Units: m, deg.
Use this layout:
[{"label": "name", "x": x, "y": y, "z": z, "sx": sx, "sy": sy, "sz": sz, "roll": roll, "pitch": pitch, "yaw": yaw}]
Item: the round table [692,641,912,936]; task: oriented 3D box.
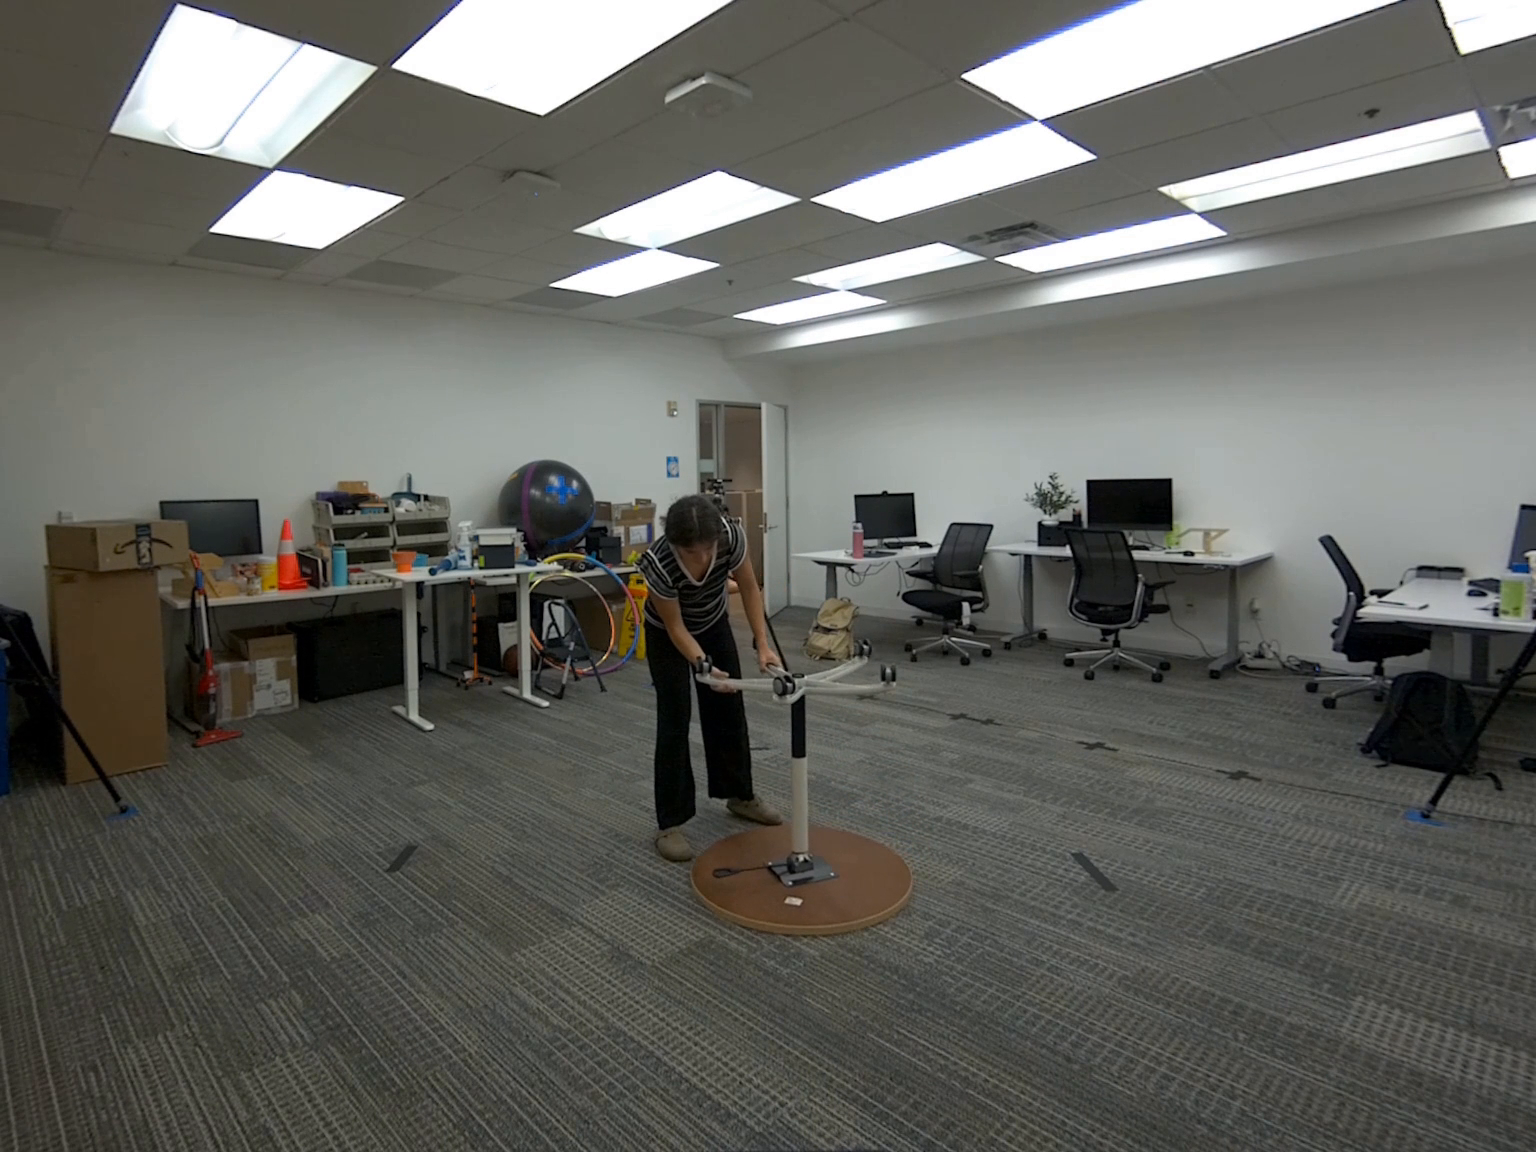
[{"label": "round table", "x": 0.117, "y": 0.665, "z": 2.961, "sx": 0.763, "sy": 0.791, "sz": 0.768, "roll": 0, "pitch": 5, "yaw": -2}]
